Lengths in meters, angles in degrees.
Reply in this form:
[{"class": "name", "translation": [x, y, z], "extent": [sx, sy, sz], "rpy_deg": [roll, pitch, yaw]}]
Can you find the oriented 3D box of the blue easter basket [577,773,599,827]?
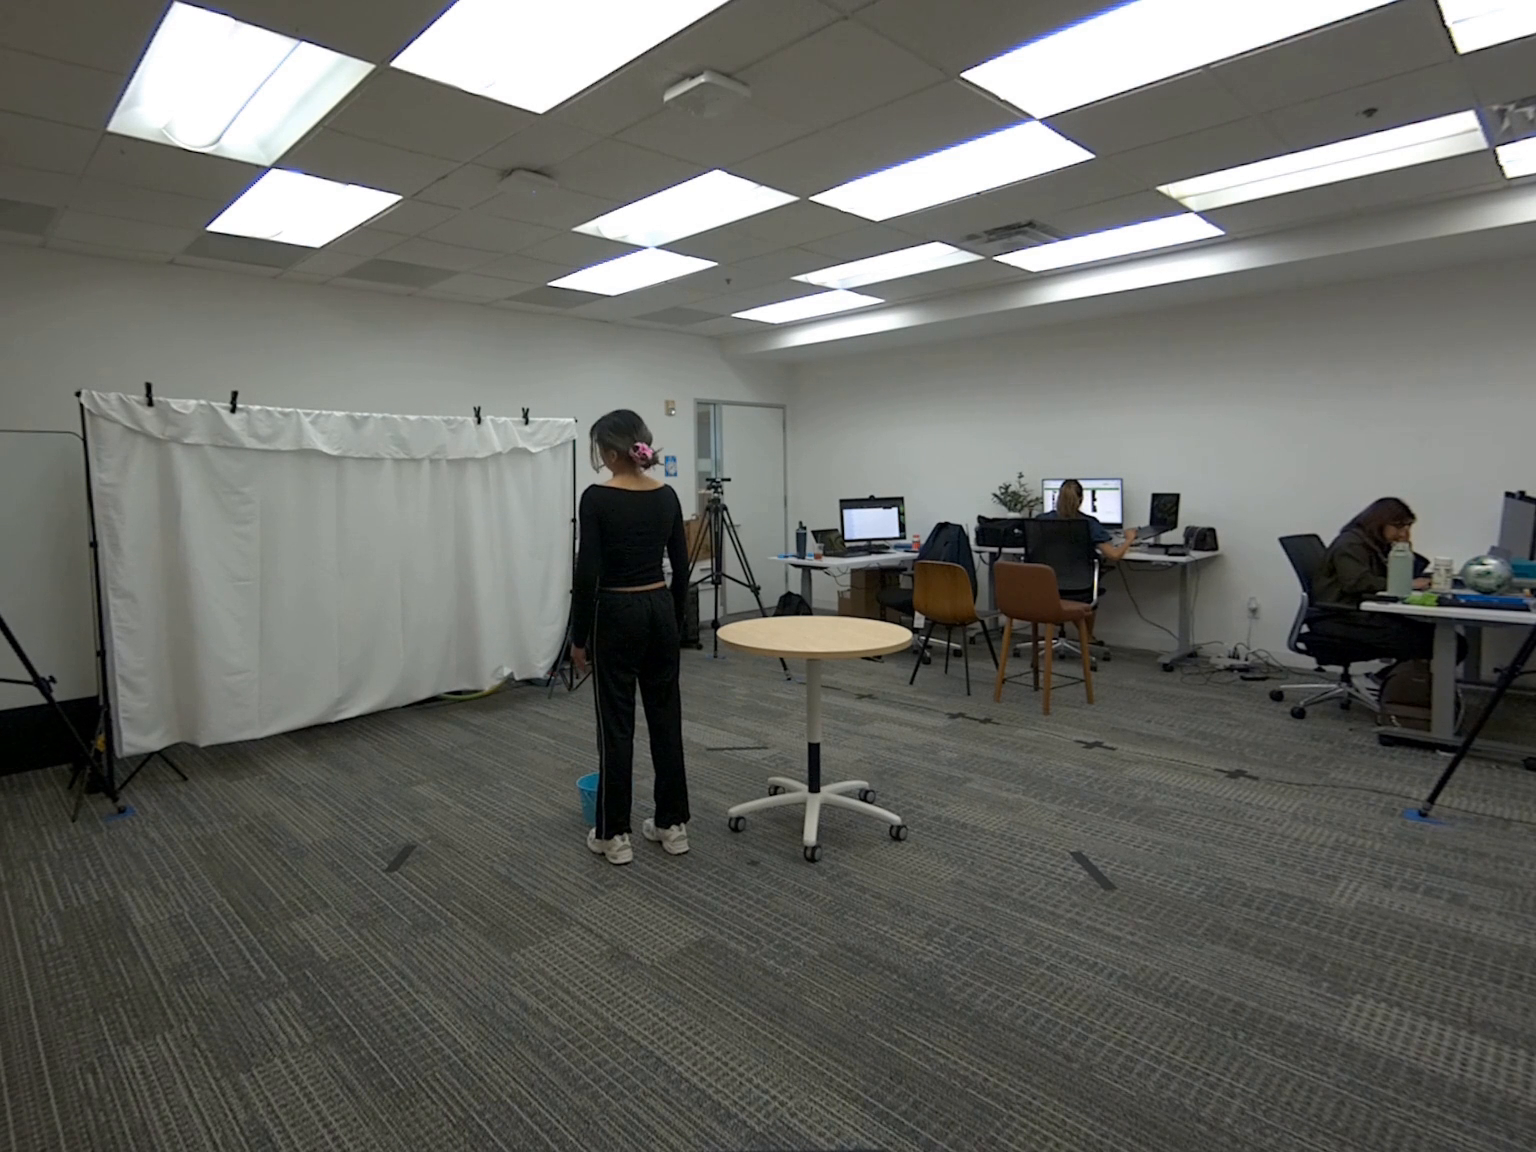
[{"class": "blue easter basket", "translation": [-0.681, 0.930, 3.554], "extent": [0.243, 0.155, 0.245], "rpy_deg": [-2, 6, -2]}]
